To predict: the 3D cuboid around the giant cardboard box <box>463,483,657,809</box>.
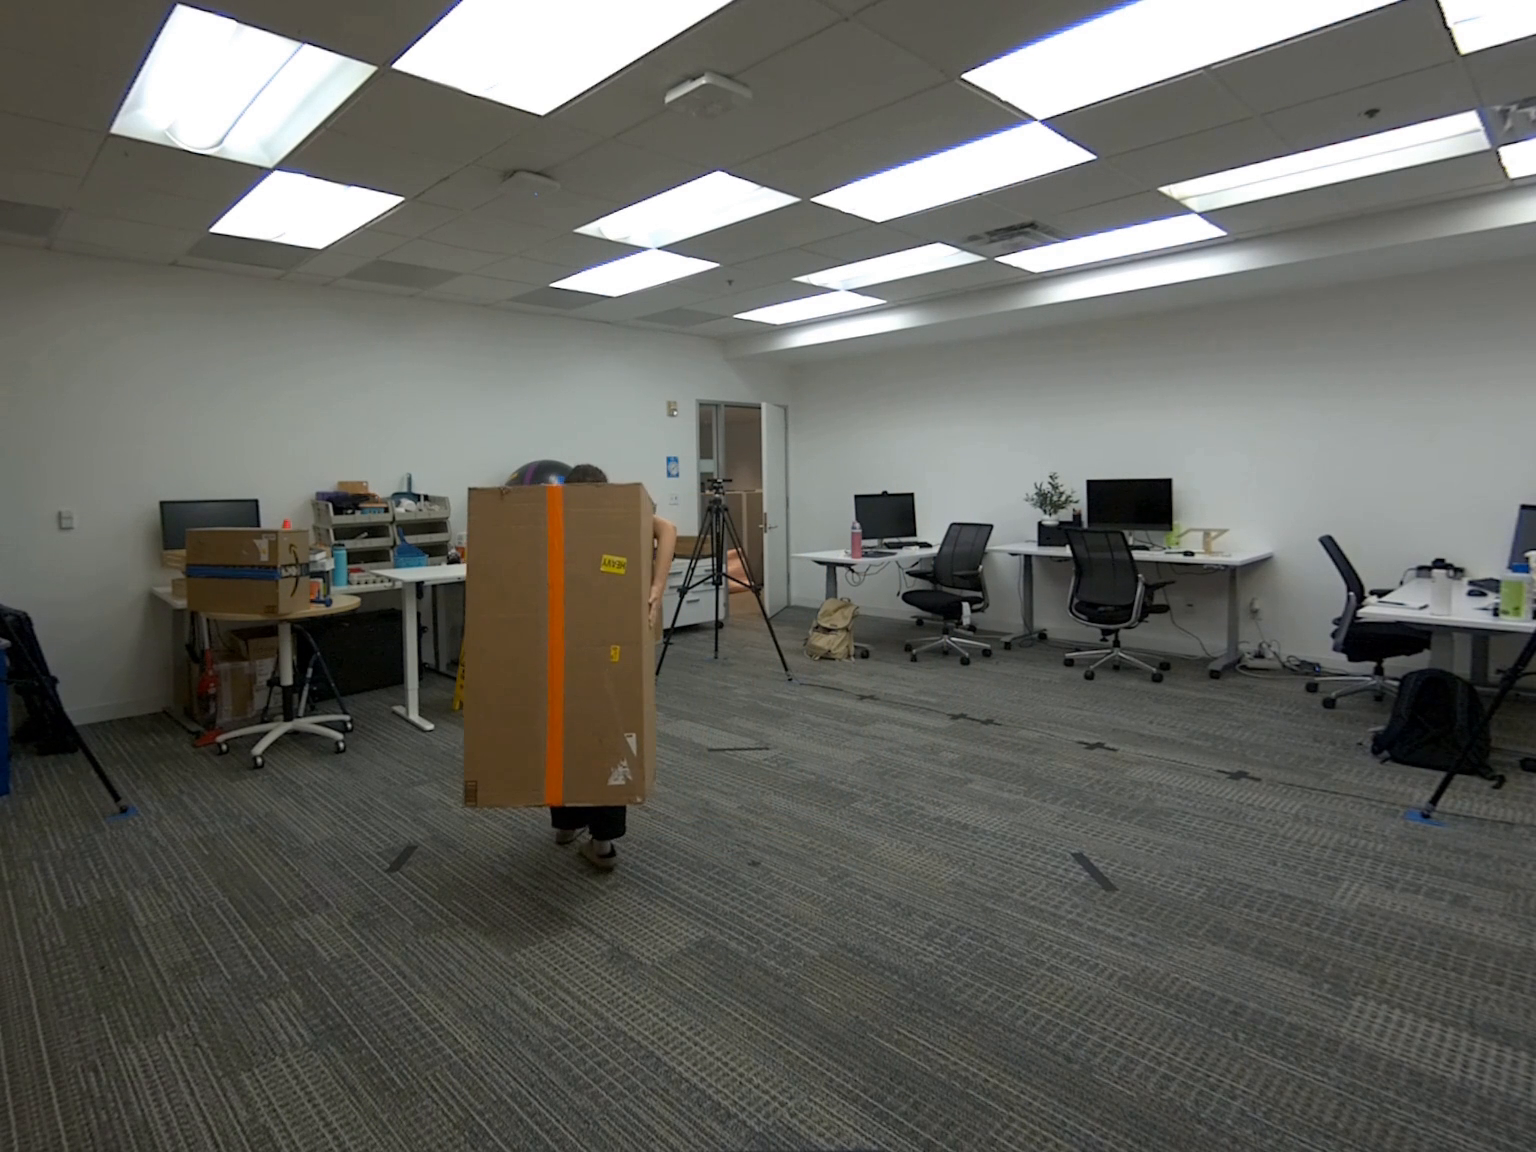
[{"bbox_3d":[-0.699,0.230,2.936,0.579,1.032,0.423,-2,-6,1],"label":"giant cardboard box"}]
